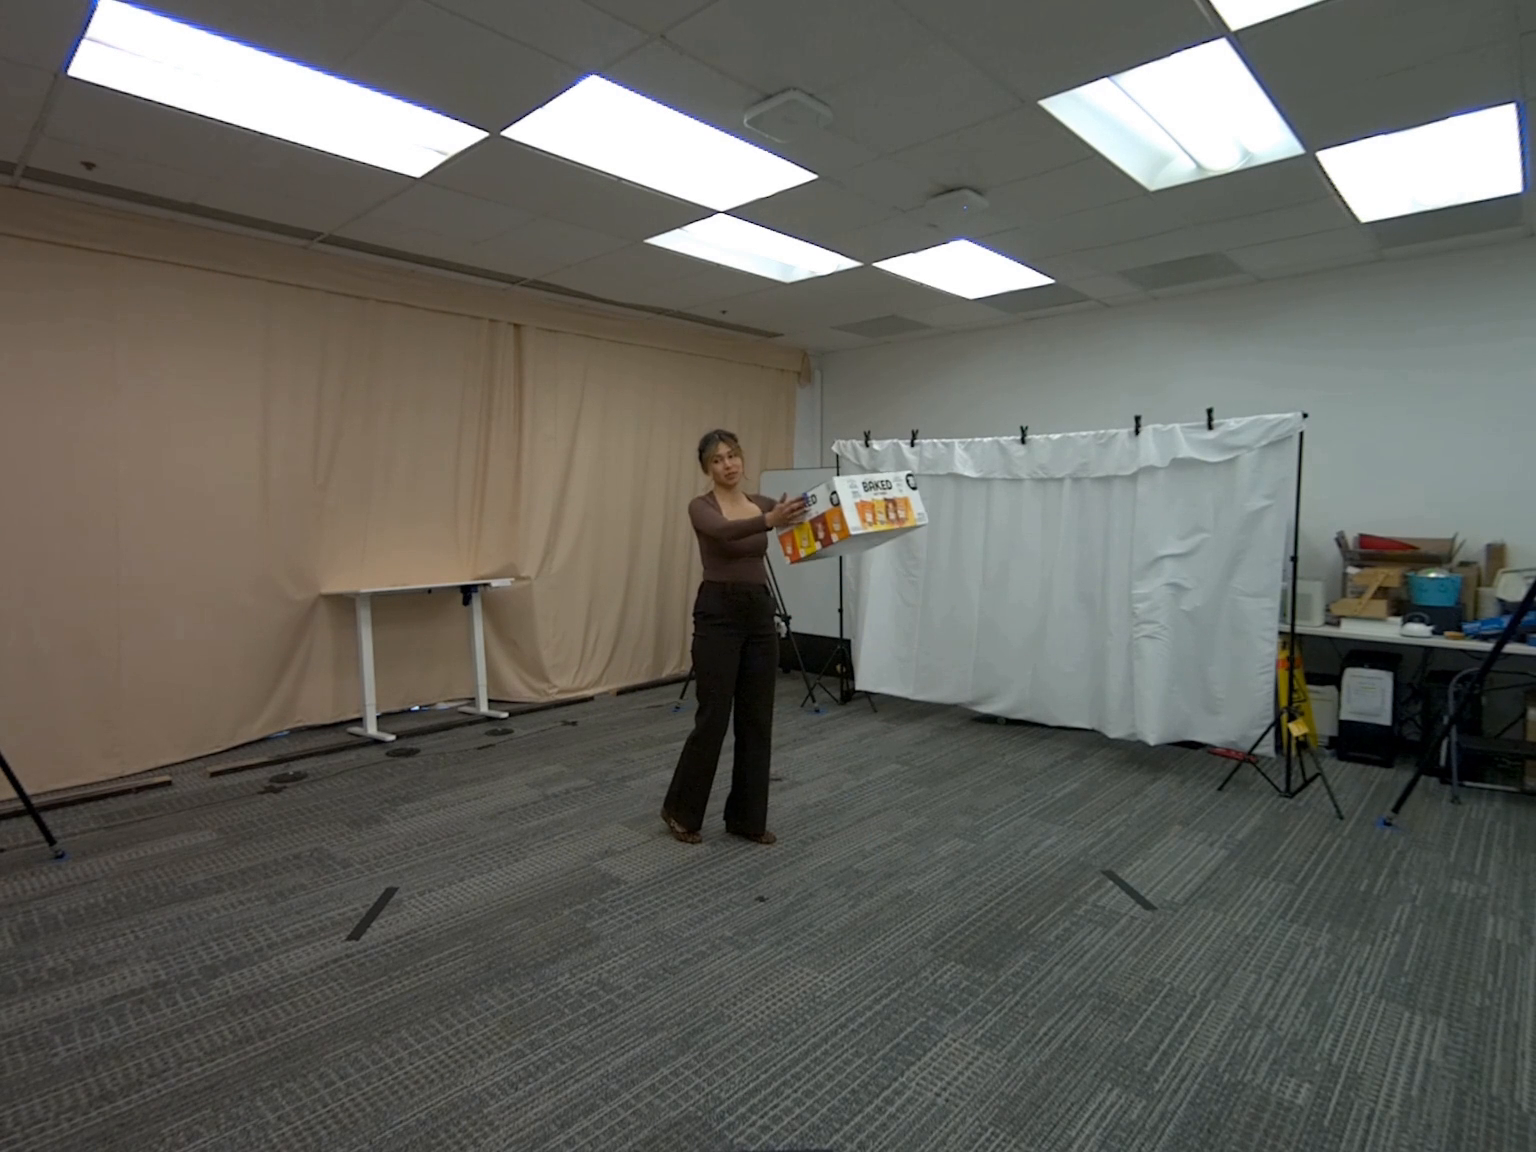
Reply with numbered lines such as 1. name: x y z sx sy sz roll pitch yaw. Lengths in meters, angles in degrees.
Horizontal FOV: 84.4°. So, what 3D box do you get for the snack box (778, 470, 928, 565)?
1. snack box: 0.289 -0.189 2.989 0.394 0.207 0.347 -10 -10 -39
